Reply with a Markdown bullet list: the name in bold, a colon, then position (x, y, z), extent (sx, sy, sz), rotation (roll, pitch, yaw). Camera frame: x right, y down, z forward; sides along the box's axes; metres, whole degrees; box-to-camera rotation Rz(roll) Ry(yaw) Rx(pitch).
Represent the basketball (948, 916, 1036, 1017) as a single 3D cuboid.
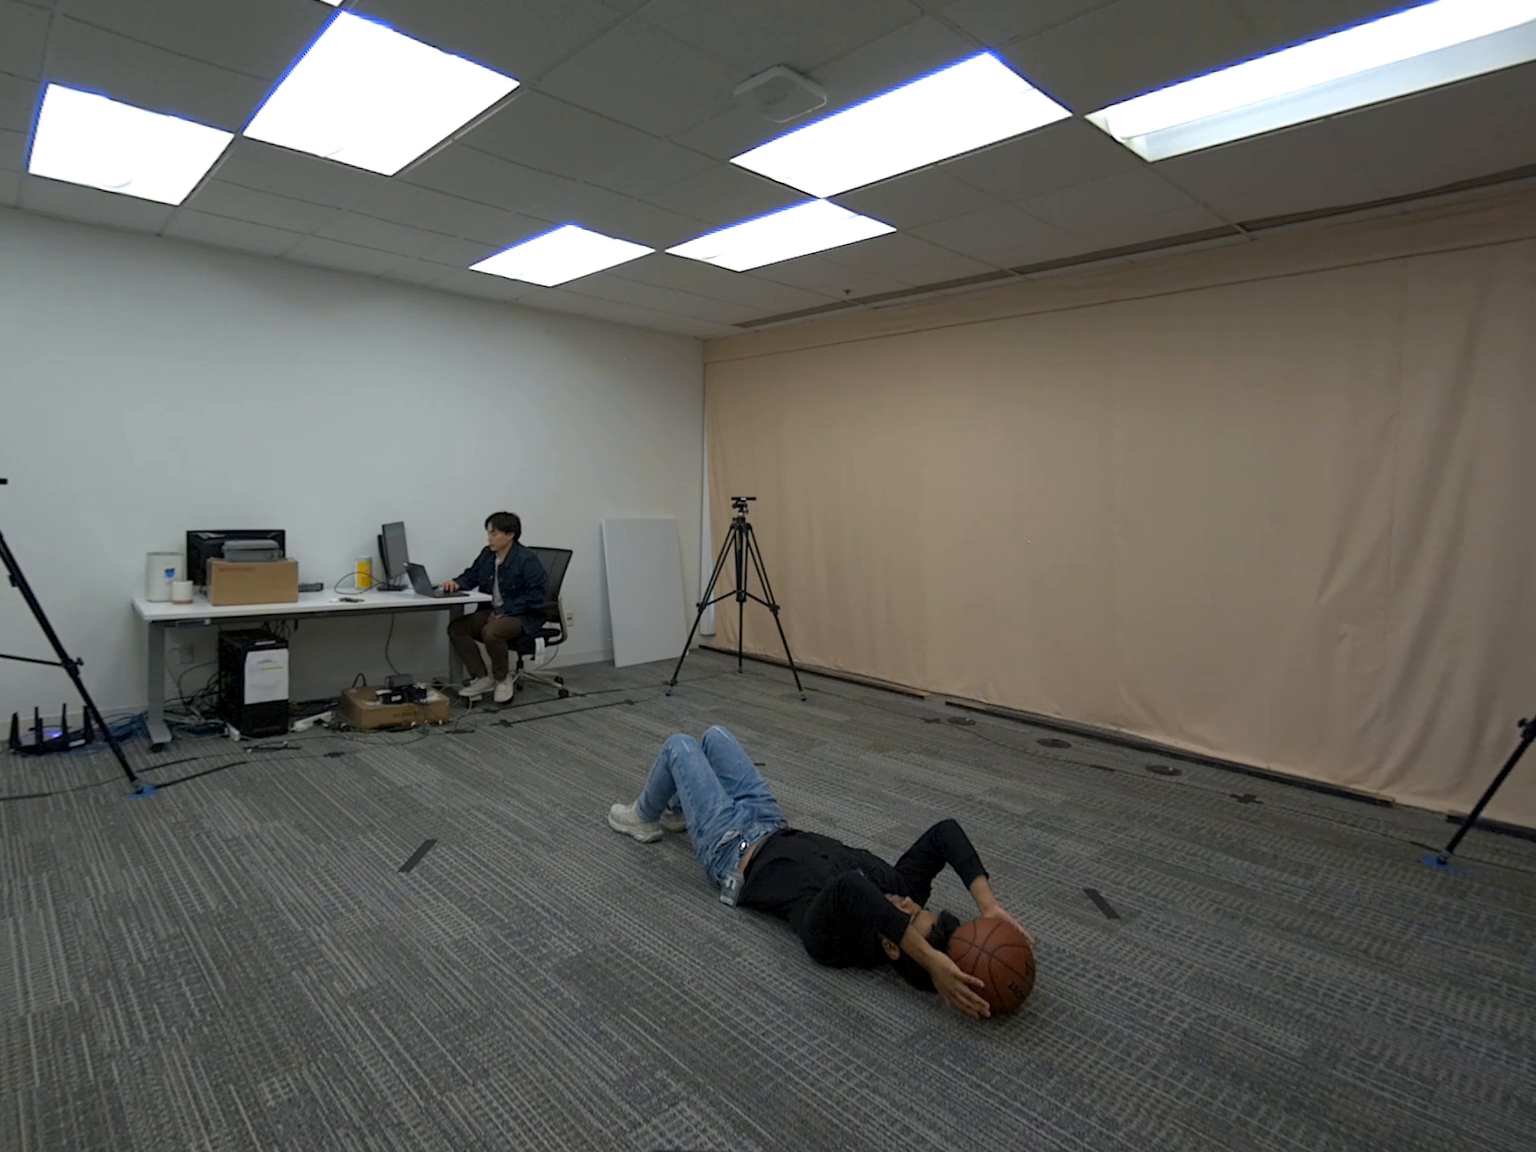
- **basketball**: position (0.609, 1.079, 2.333), extent (0.236, 0.235, 0.237), rotation (1, 4, -1)
